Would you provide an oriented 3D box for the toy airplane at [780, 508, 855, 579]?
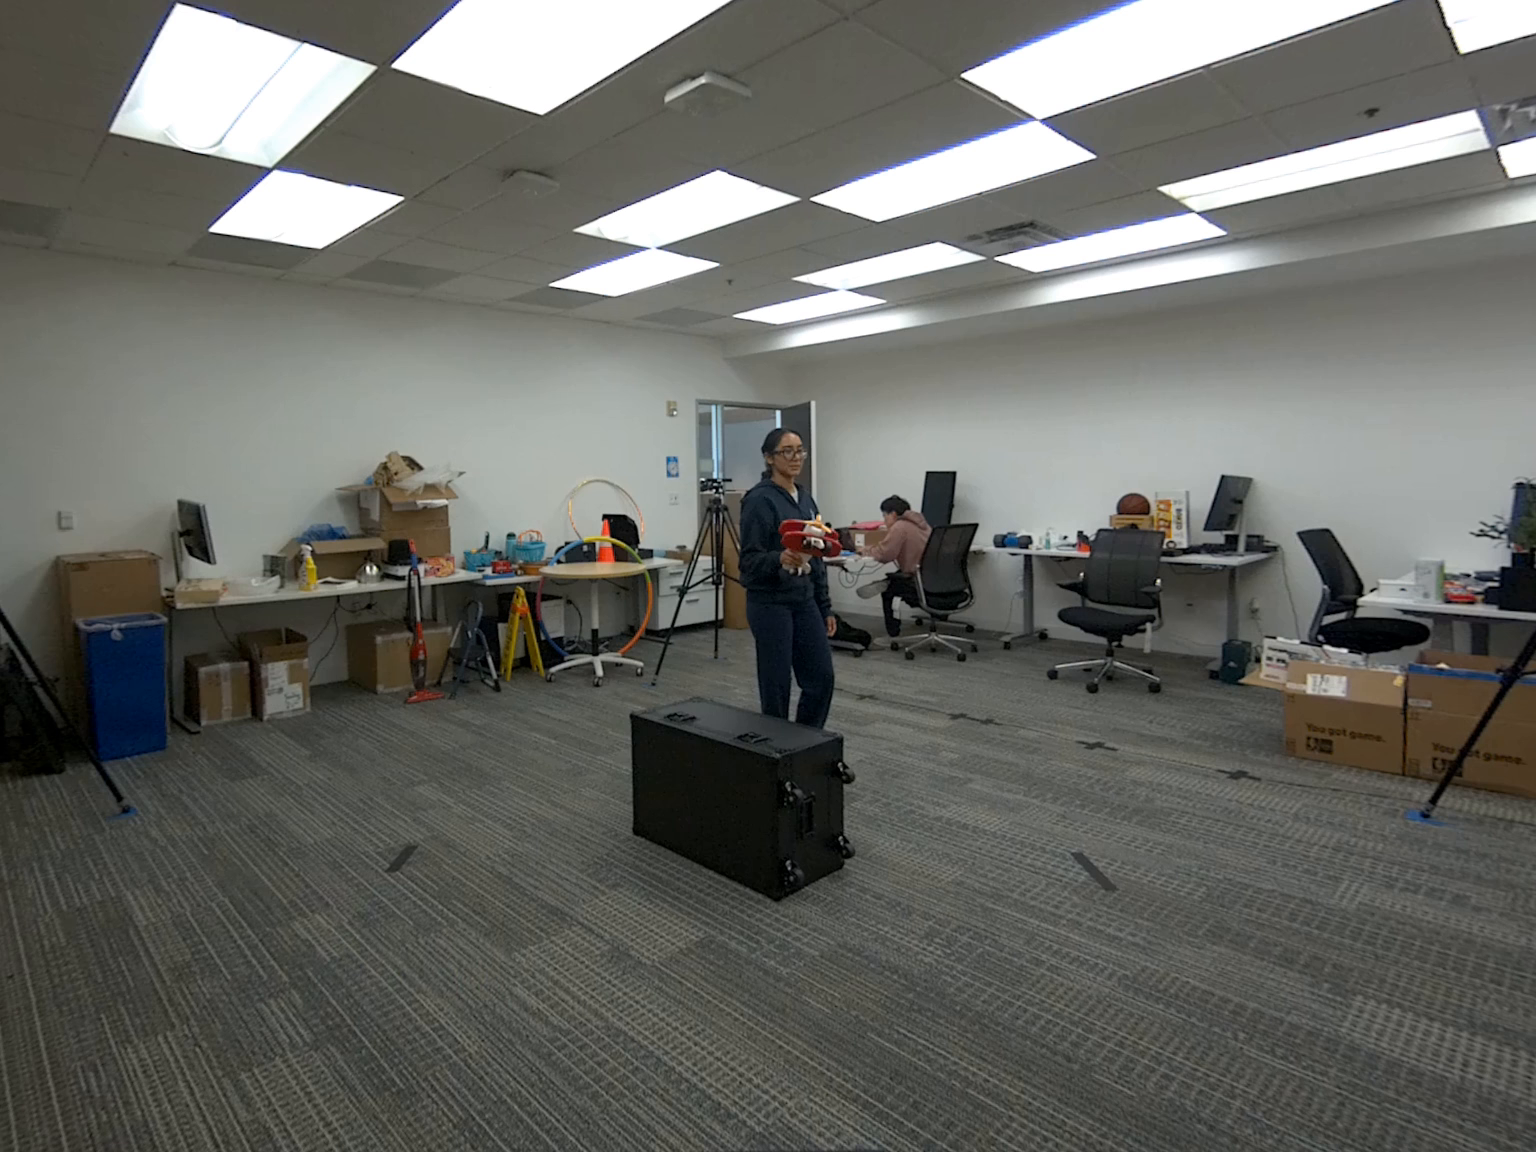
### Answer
[{"bbox_3d":[0.164,-0.110,3.492,0.262,0.160,0.242,-29,-47,30],"label":"toy airplane"}]
